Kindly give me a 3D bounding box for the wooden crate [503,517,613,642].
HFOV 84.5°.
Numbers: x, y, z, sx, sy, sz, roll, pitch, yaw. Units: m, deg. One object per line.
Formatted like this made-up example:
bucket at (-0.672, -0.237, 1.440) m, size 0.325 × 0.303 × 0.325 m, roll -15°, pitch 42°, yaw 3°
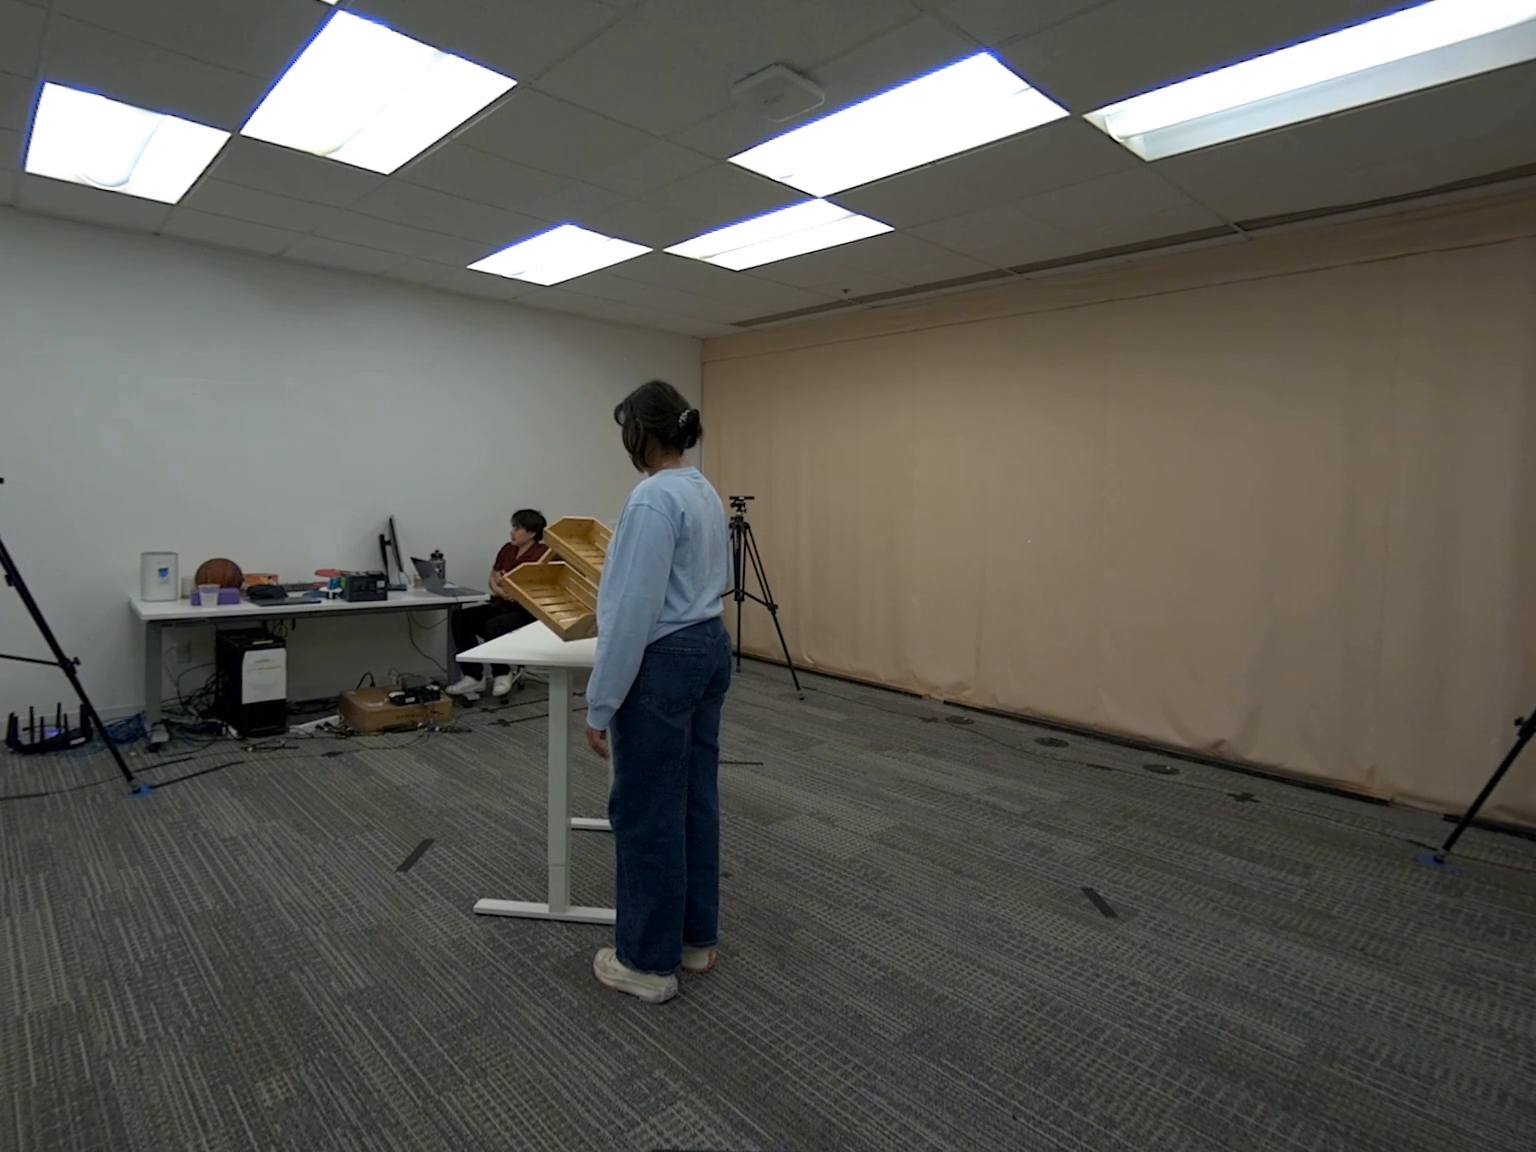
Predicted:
wooden crate at (-0.599, 0.001, 2.625) m, size 0.333 × 0.272 × 0.296 m, roll 34°, pitch 18°, yaw 26°
